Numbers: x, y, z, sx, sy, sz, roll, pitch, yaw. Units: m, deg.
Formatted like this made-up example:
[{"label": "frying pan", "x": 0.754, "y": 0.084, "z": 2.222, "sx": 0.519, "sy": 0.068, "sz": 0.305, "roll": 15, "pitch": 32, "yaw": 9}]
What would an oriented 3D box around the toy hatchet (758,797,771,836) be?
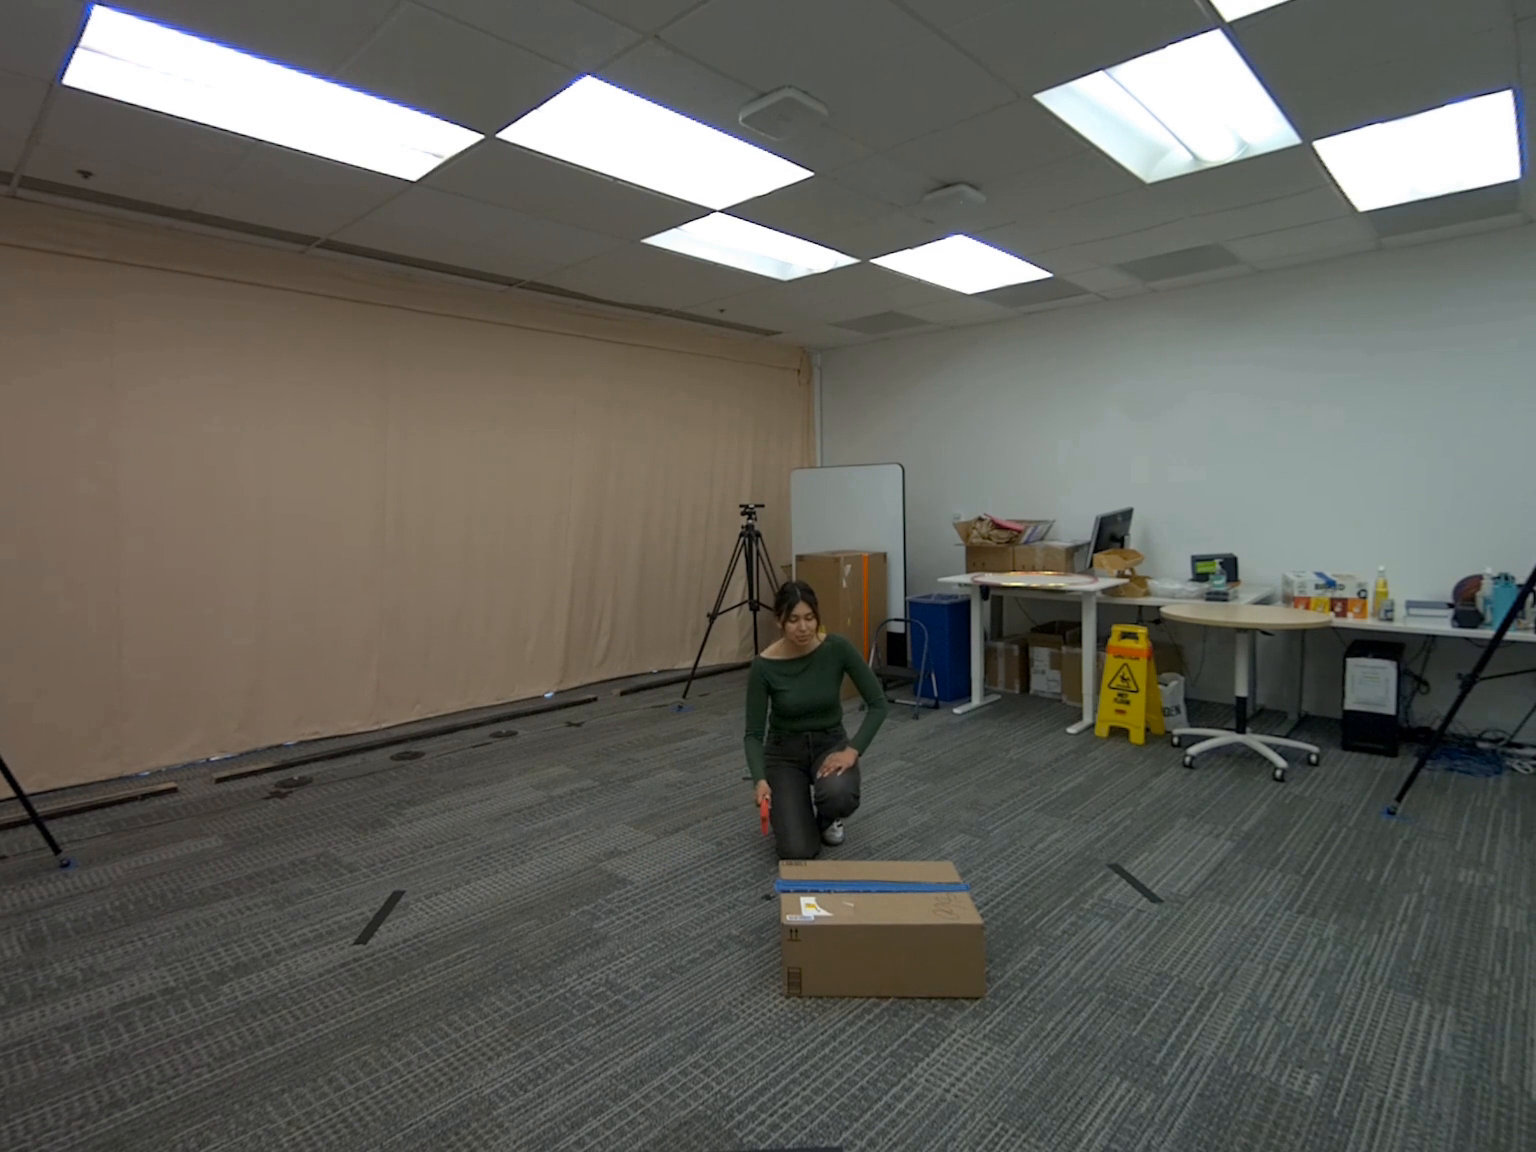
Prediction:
[{"label": "toy hatchet", "x": -0.010, "y": 0.852, "z": 3.044, "sx": 0.029, "sy": 0.132, "sz": 0.267, "roll": -9, "pitch": -10, "yaw": 0}]
